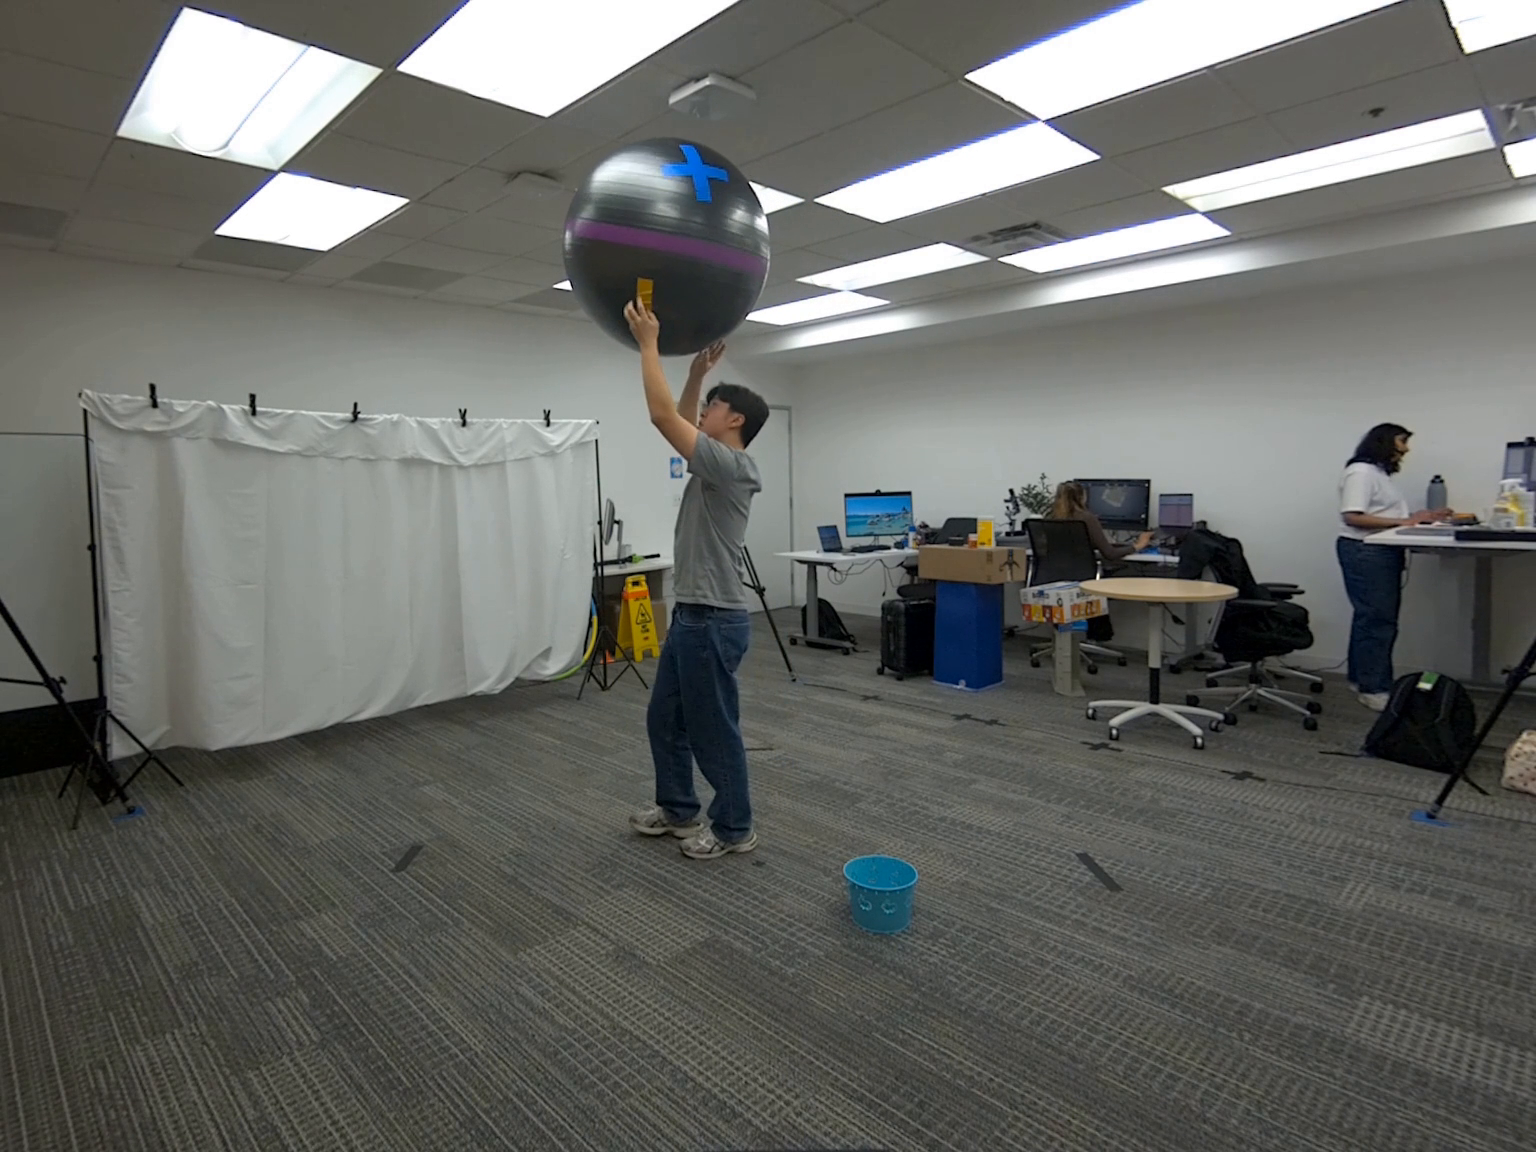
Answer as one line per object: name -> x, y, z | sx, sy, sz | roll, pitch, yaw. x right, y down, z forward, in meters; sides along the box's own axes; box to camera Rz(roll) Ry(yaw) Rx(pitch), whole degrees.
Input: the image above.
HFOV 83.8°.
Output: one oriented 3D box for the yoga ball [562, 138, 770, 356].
yoga ball -> -0.373, -1.183, 3.141 | 0.757, 0.755, 0.762 | -1, 5, -2
